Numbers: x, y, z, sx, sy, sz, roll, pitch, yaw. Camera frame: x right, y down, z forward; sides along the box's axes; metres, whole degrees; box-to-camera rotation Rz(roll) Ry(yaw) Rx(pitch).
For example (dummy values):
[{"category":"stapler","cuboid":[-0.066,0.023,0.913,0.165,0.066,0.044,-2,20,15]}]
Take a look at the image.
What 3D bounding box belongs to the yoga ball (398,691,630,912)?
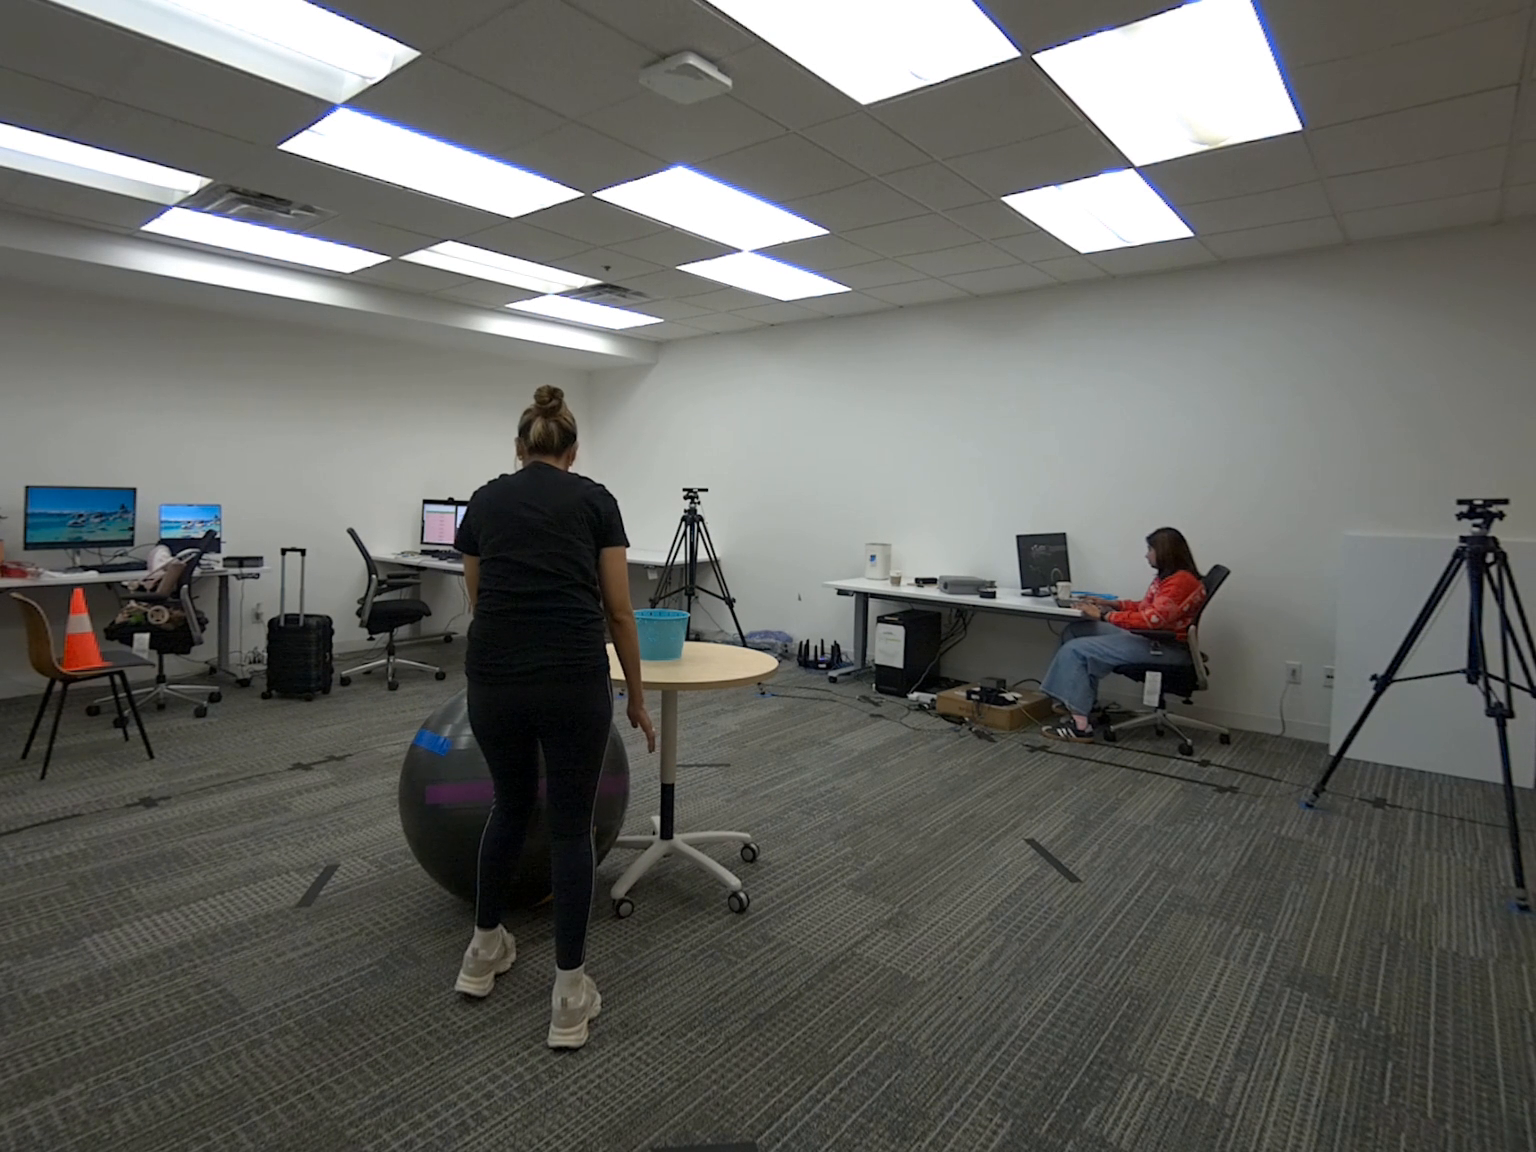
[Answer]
[{"category":"yoga ball","cuboid":[-0.877,0.717,2.873,0.757,0.756,0.761,1,4,-2]}]
